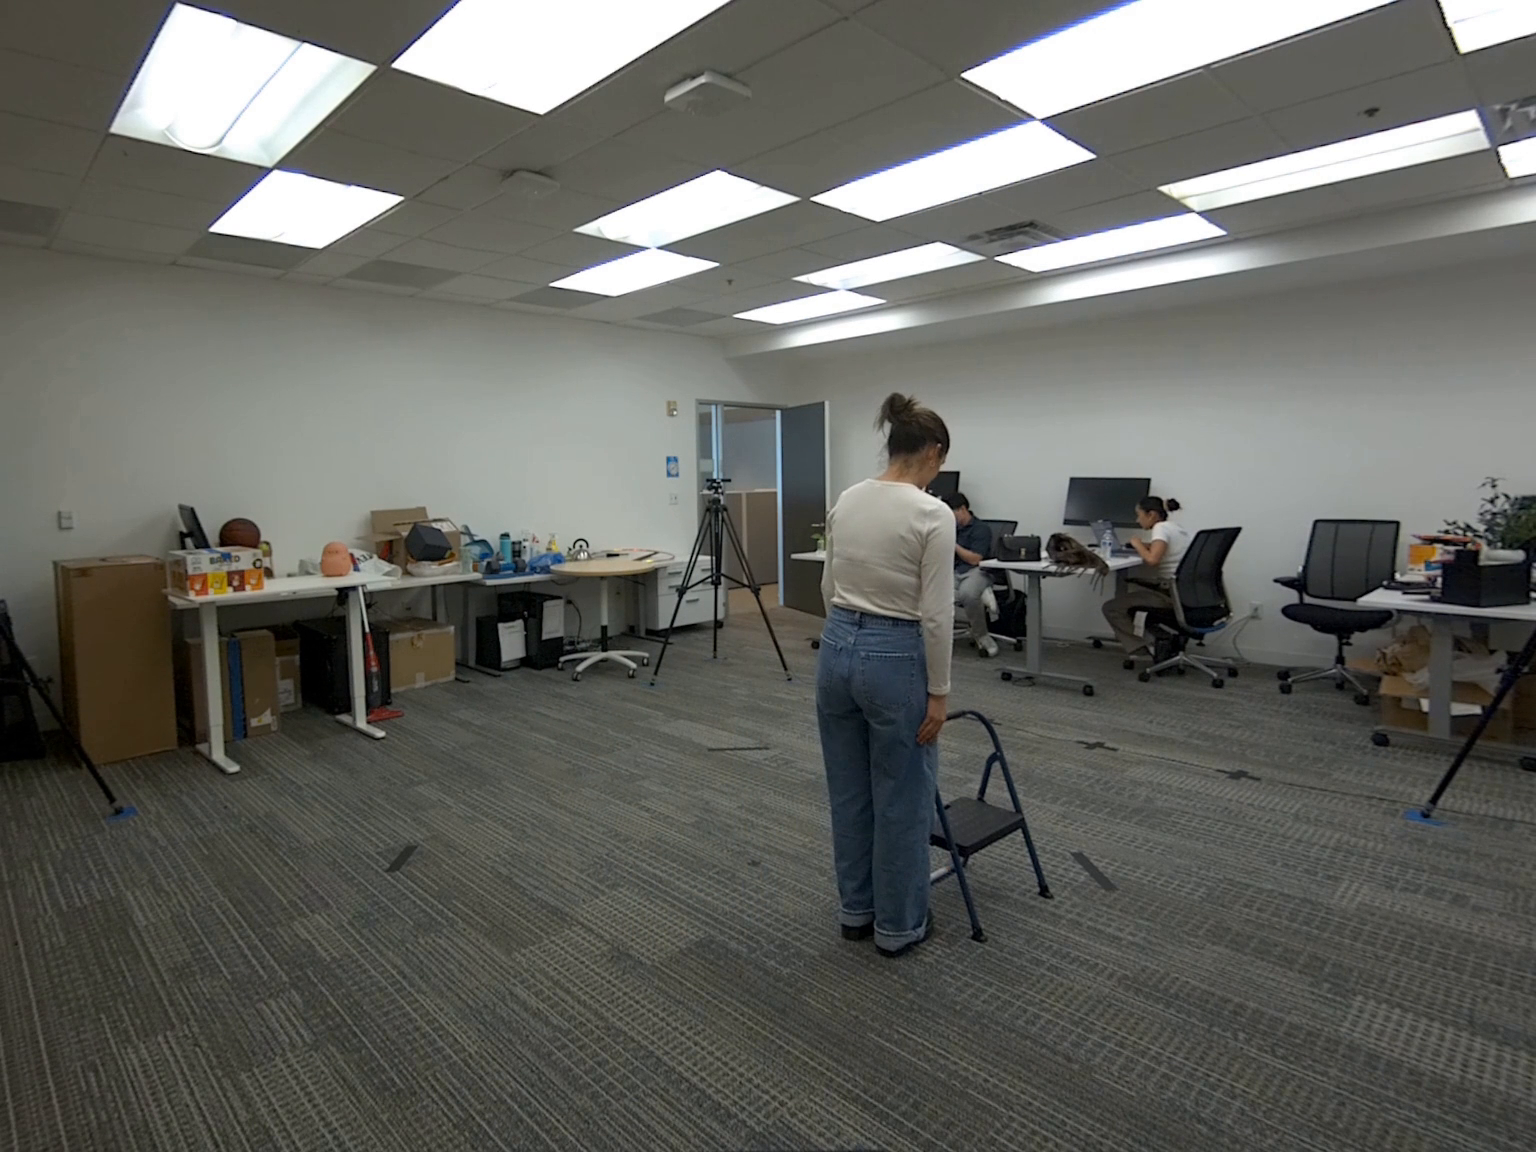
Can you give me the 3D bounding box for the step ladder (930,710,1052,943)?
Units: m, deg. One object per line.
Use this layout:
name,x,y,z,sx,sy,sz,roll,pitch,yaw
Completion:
step ladder,0.676,0.764,2.803,0.419,0.604,0.360,-5,6,-43
